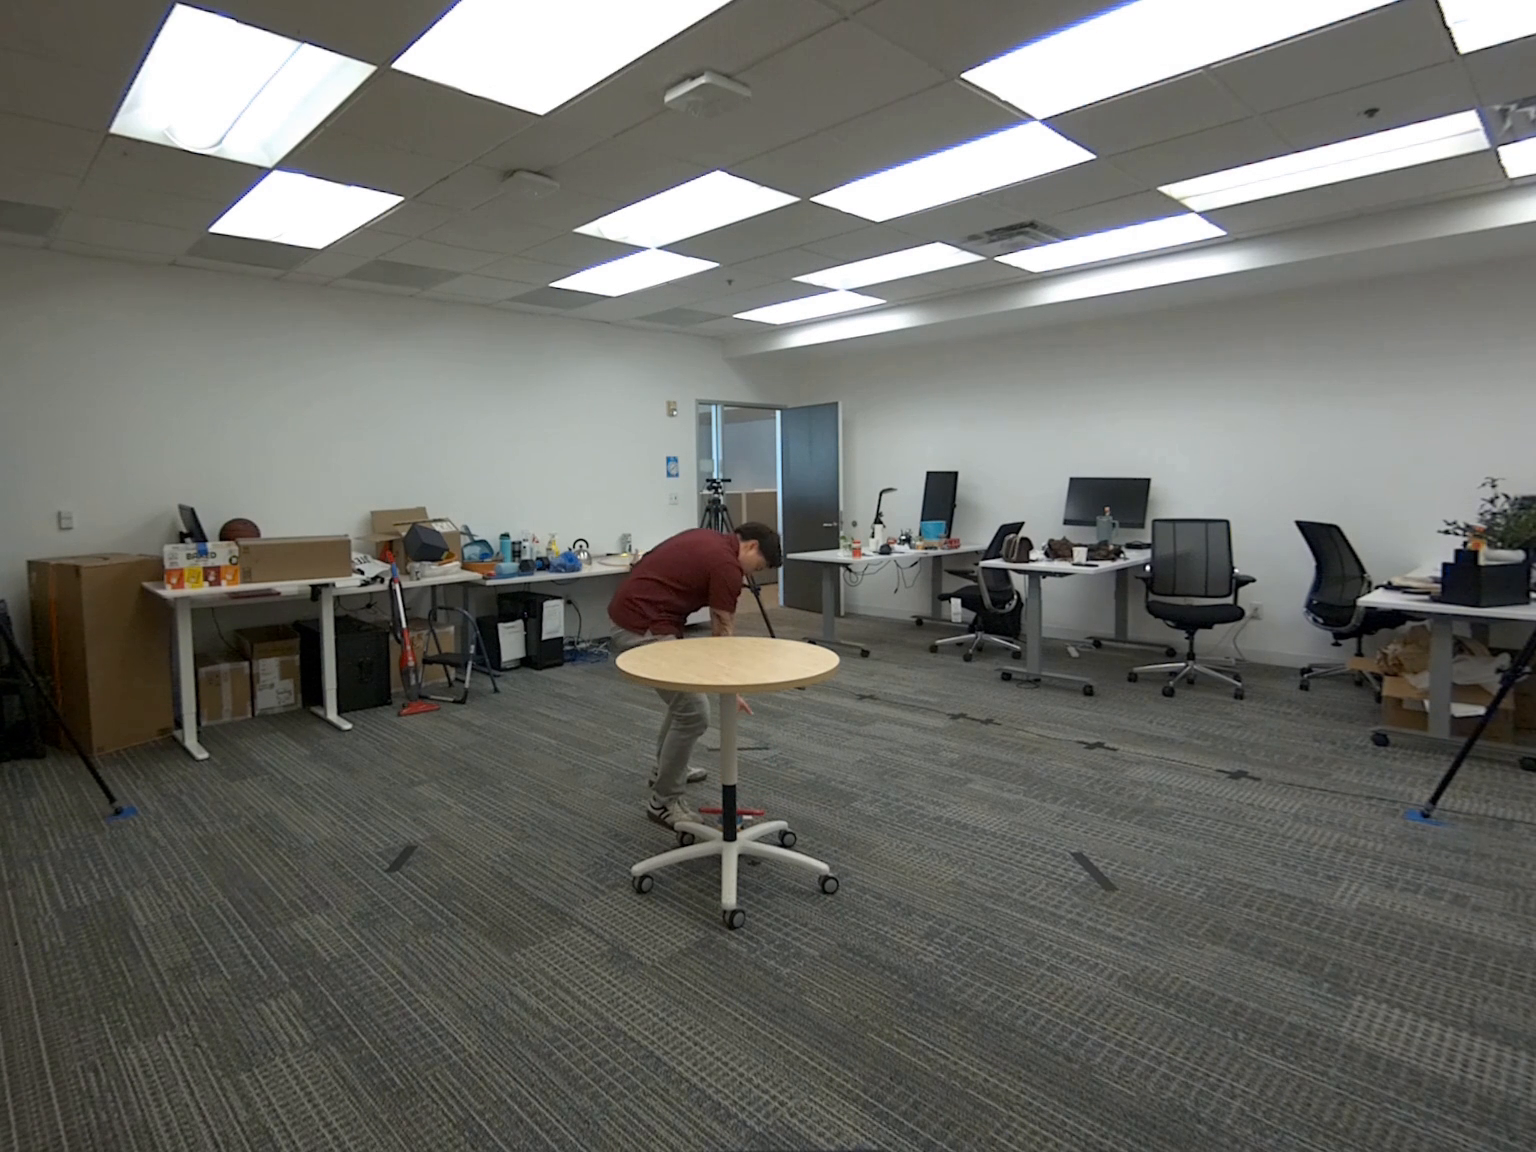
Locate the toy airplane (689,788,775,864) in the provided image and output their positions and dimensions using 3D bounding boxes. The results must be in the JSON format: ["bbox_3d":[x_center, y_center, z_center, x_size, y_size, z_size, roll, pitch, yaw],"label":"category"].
[{"bbox_3d":[-0.143,0.949,3.283,0.247,0.156,0.265,-3,6,-20],"label":"toy airplane"}]
